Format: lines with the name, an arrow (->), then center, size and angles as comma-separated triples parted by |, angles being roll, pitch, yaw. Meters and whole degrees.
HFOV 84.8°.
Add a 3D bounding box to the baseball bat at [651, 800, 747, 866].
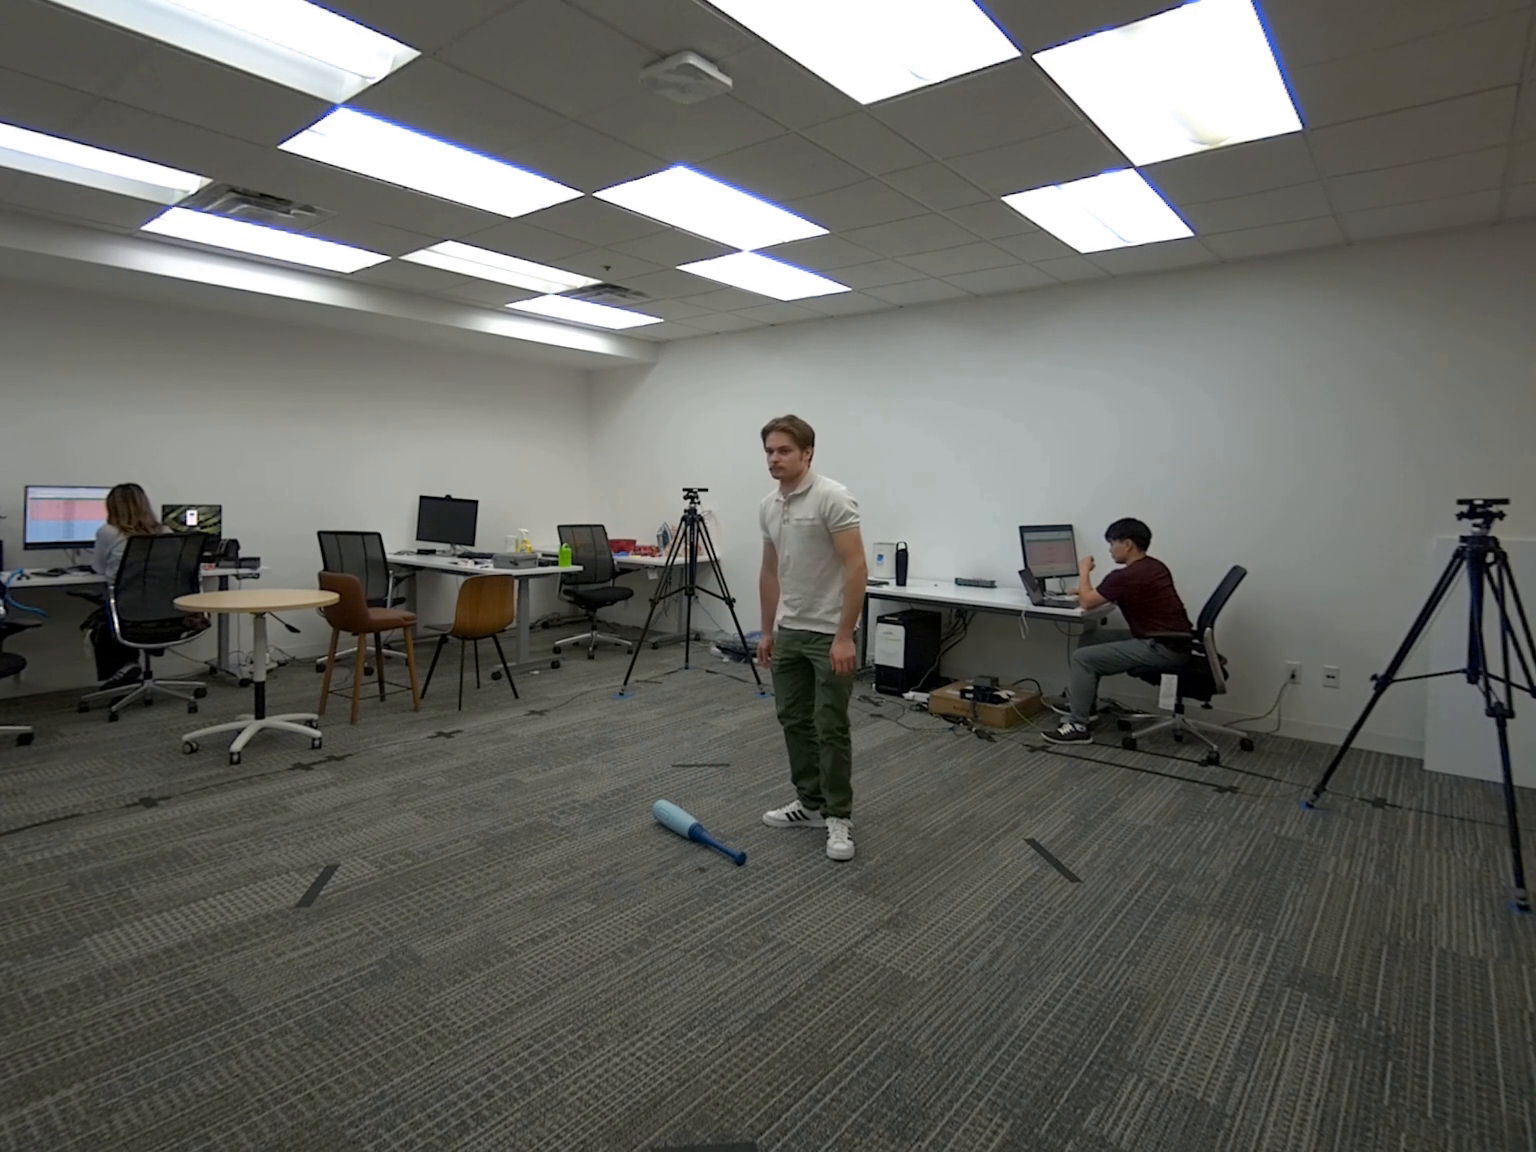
baseball bat -> -0.284, 1.010, 3.353 | 0.086, 0.088, 0.563 | -2, 10, -40
